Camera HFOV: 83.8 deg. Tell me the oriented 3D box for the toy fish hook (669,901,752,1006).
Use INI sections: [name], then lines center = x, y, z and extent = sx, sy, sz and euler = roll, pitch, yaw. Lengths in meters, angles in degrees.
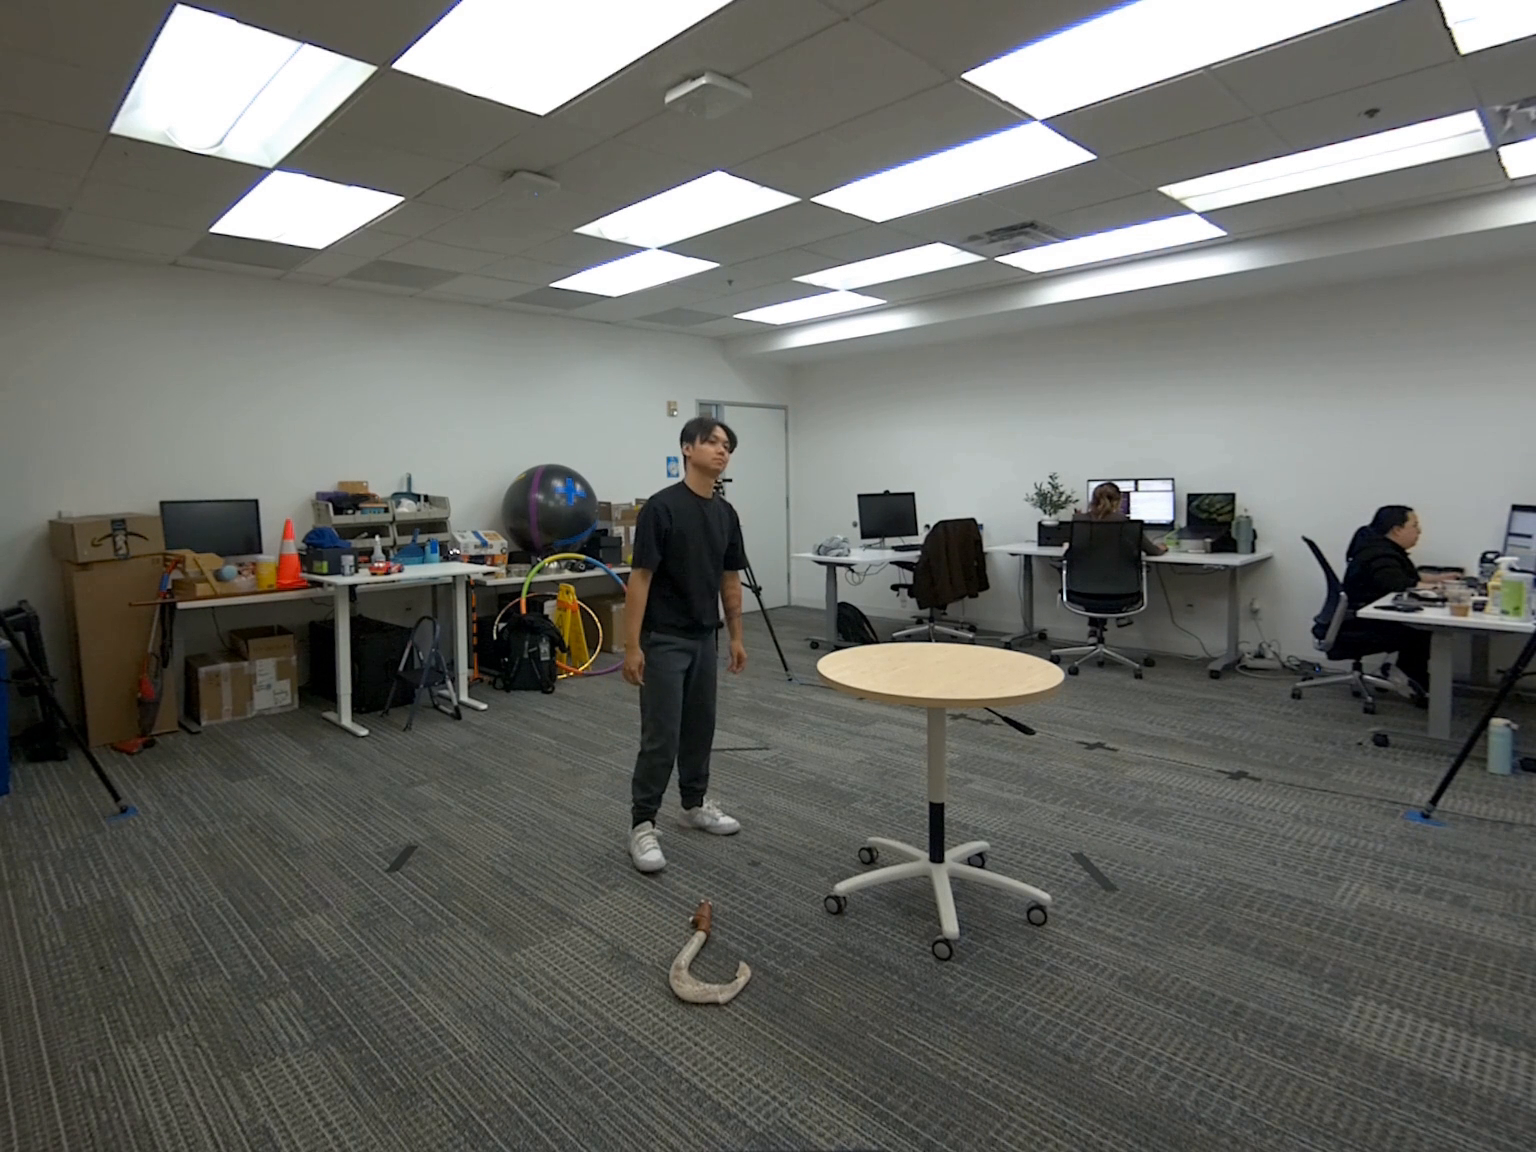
[toy fish hook]
center = -0.158, 1.105, 2.519
extent = 0.225, 0.048, 0.508
euler = 7, 8, 2
